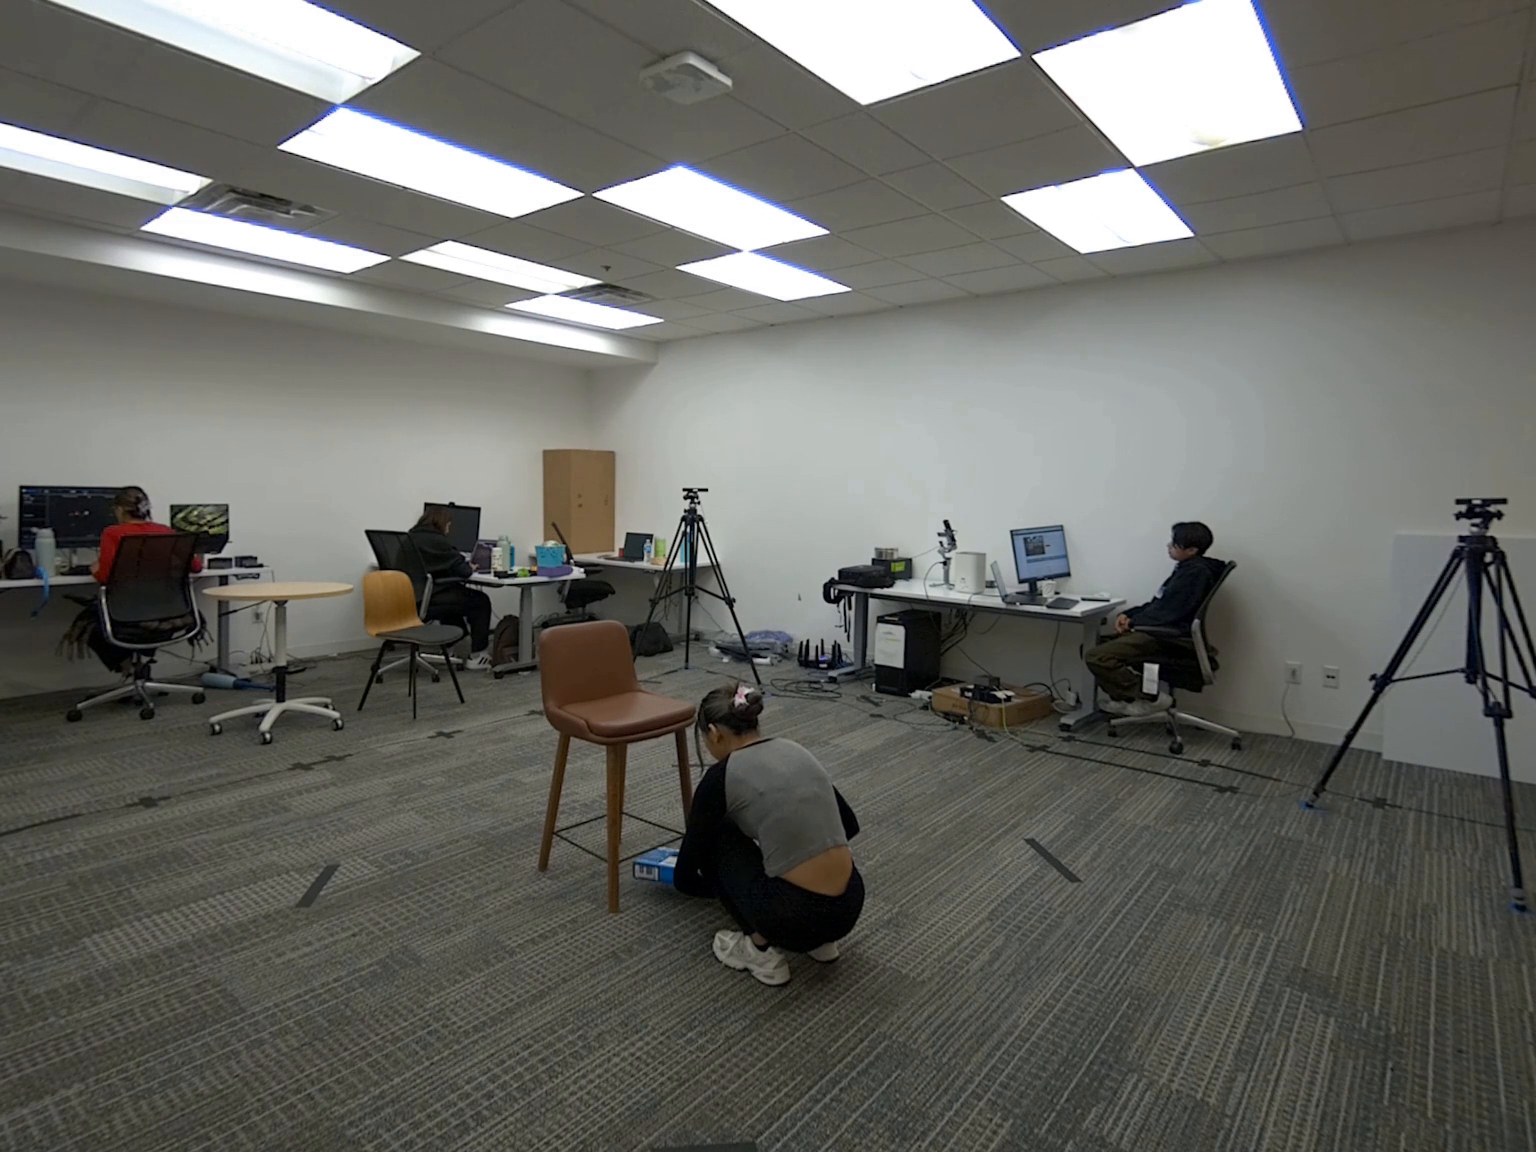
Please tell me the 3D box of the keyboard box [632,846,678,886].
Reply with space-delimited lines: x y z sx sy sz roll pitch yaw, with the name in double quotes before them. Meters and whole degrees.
"keyboard box" -0.233 0.991 2.871 0.447 0.059 0.172 -1 1 24
